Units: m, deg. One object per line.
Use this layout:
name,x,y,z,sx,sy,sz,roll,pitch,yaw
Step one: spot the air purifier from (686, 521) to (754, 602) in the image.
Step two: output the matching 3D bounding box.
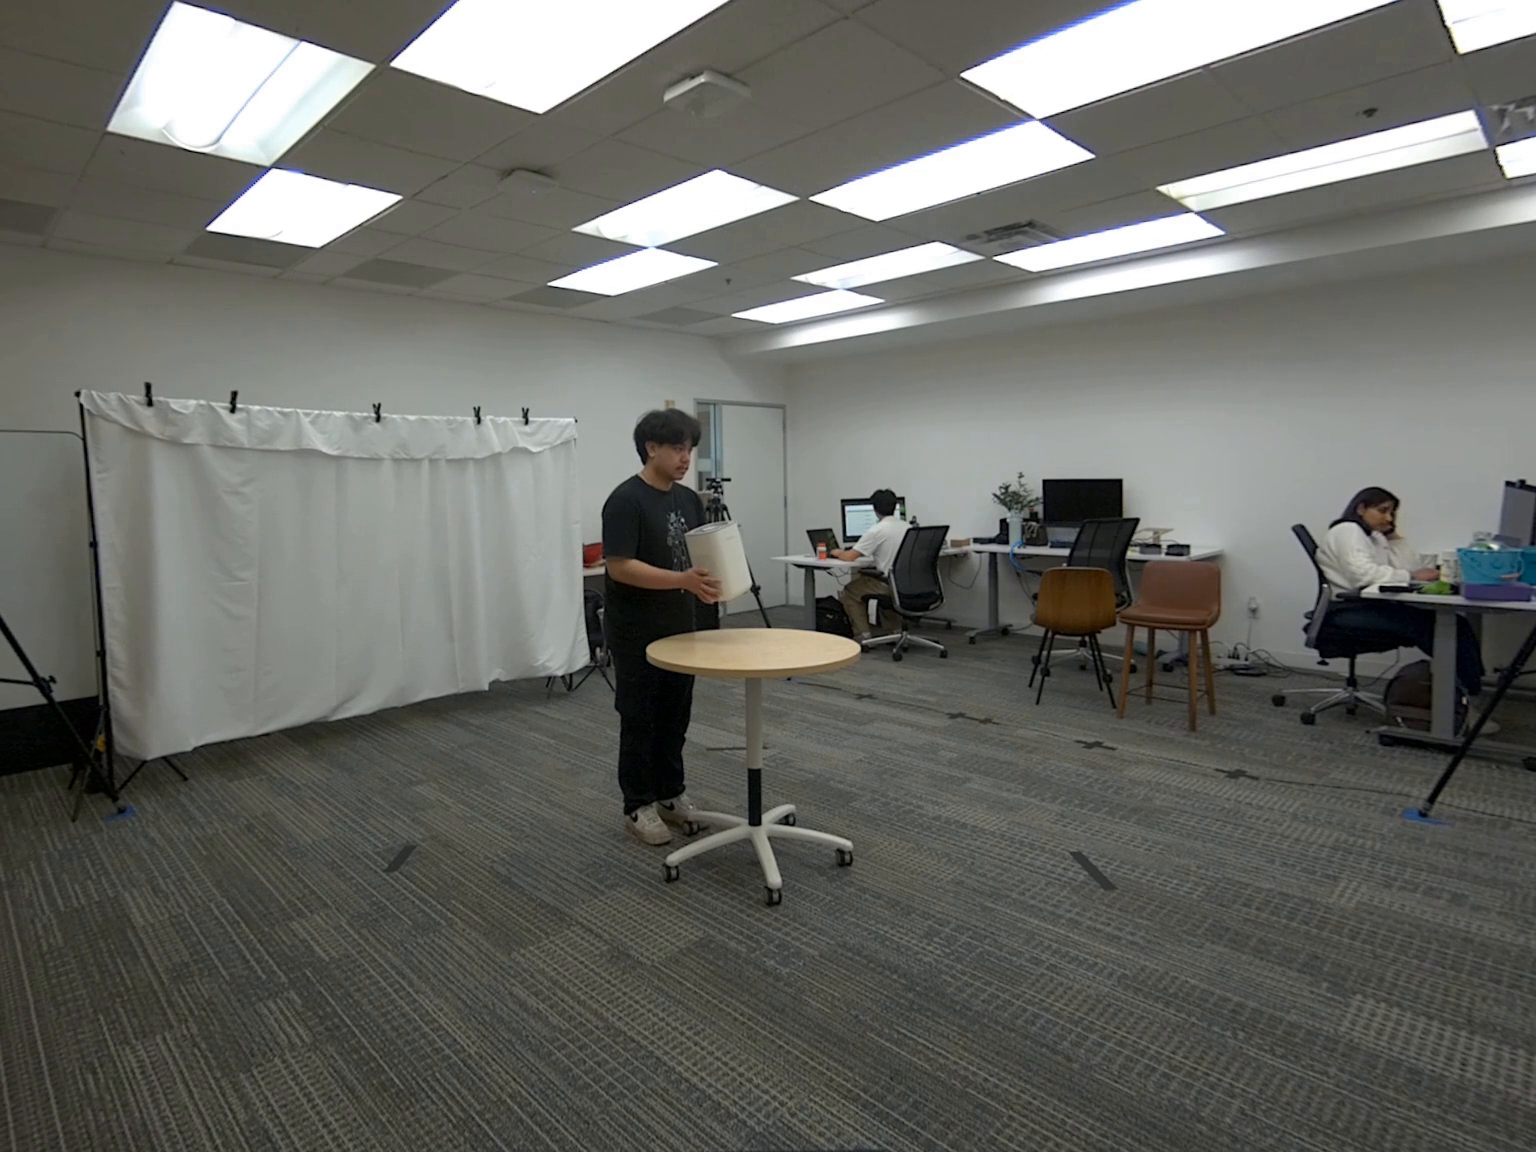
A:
air purifier,-0.182,-0.050,3.163,0.176,0.262,0.169,-5,13,37
